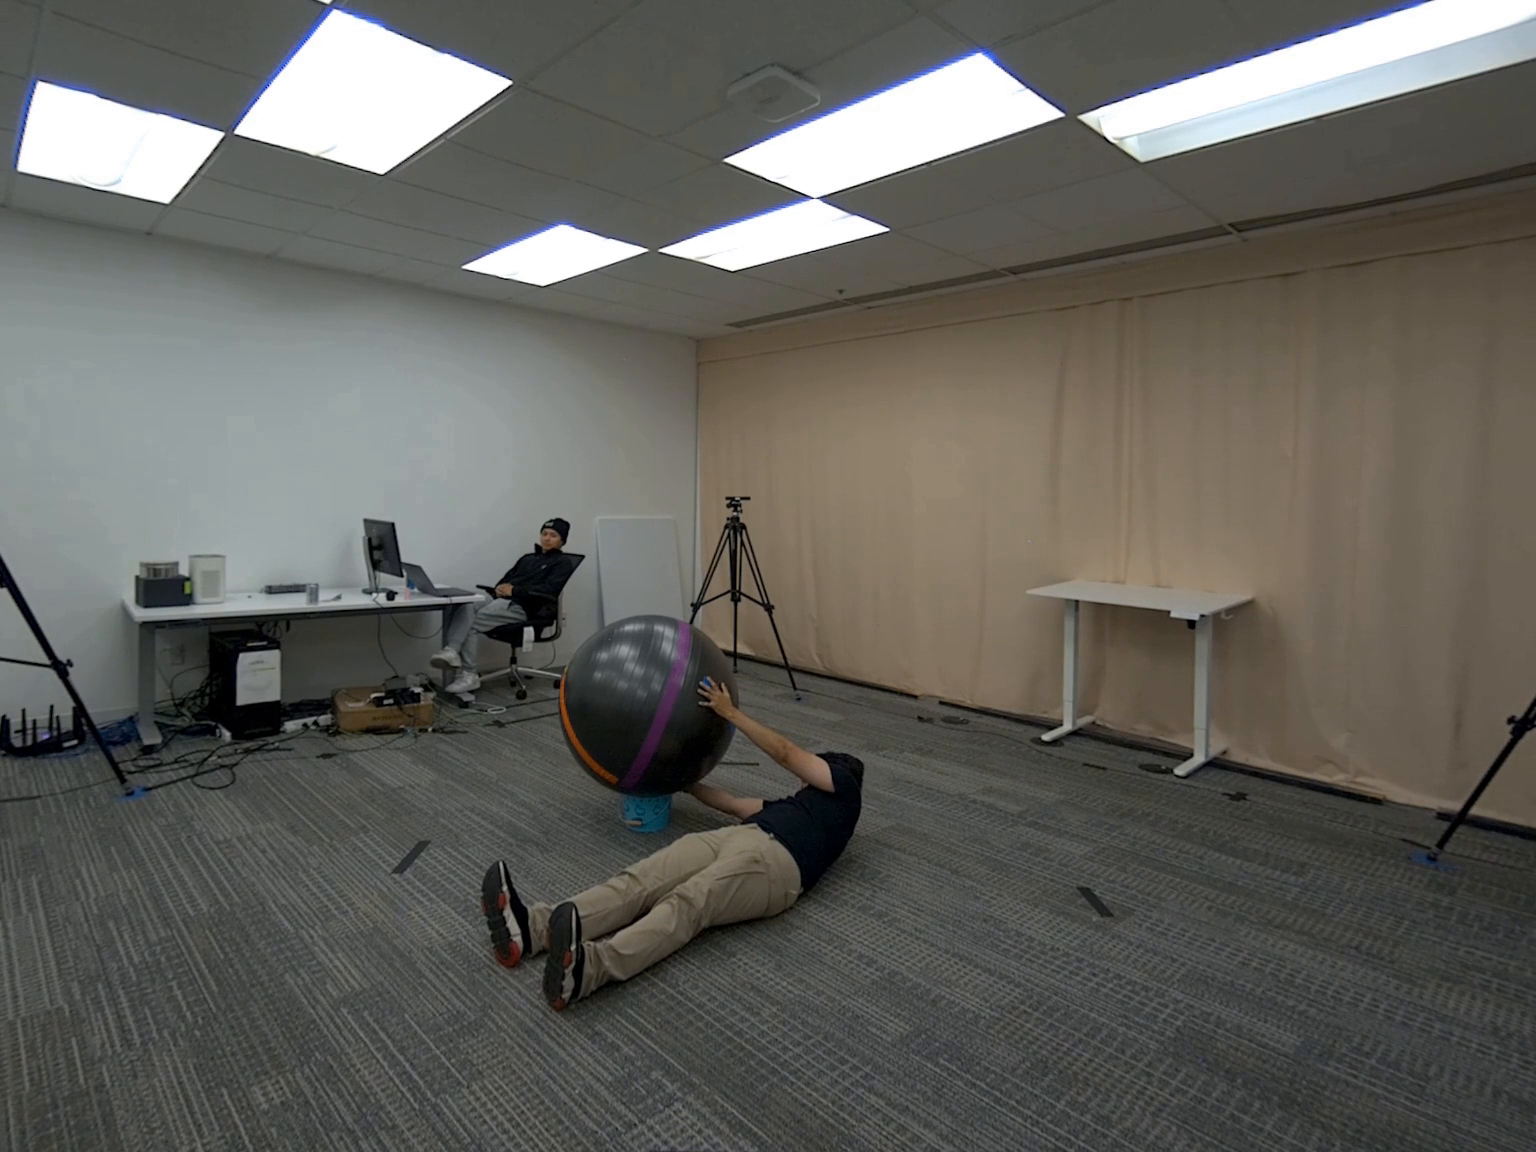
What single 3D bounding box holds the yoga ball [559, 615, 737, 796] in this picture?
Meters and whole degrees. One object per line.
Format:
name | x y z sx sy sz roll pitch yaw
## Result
yoga ball | -0.509 0.548 3.574 0.757 0.755 0.761 1 5 -1
